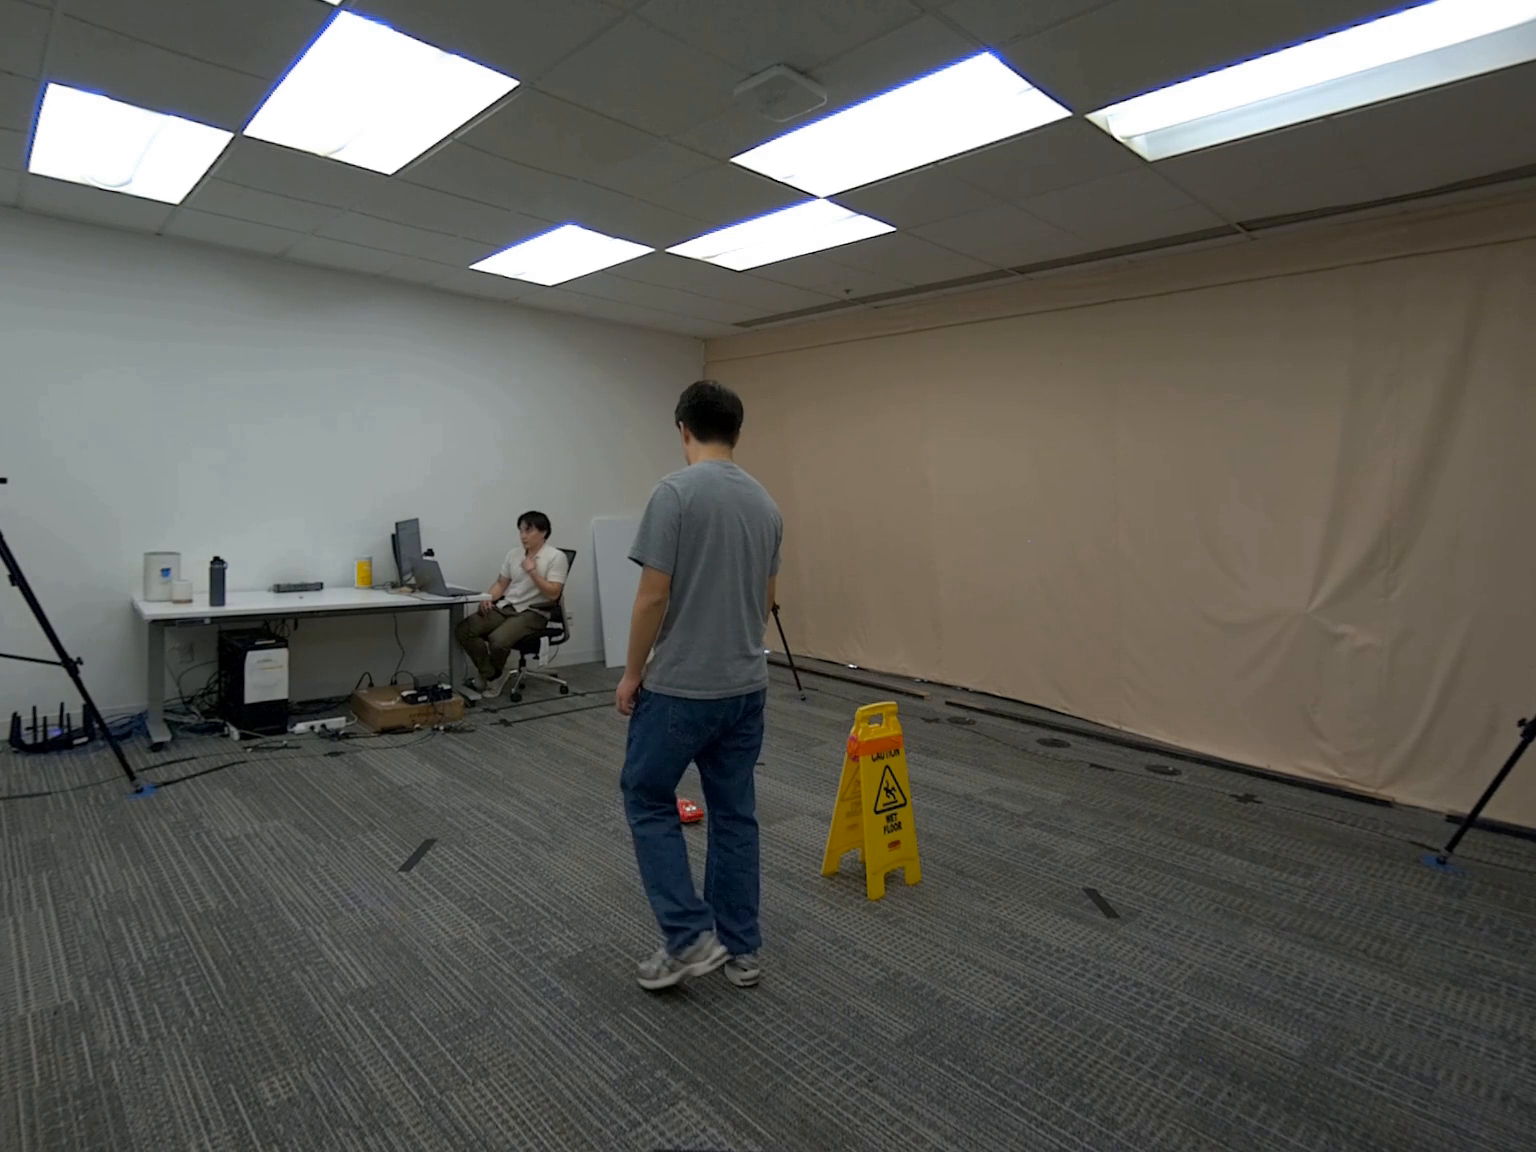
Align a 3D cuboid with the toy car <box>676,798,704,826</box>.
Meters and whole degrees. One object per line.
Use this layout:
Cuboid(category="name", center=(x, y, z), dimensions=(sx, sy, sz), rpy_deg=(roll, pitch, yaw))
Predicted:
Cuboid(category="toy car", center=(-0.380, 1.021, 3.665), dimensions=(0.127, 0.083, 0.259), rpy_deg=(0, -6, -34))
